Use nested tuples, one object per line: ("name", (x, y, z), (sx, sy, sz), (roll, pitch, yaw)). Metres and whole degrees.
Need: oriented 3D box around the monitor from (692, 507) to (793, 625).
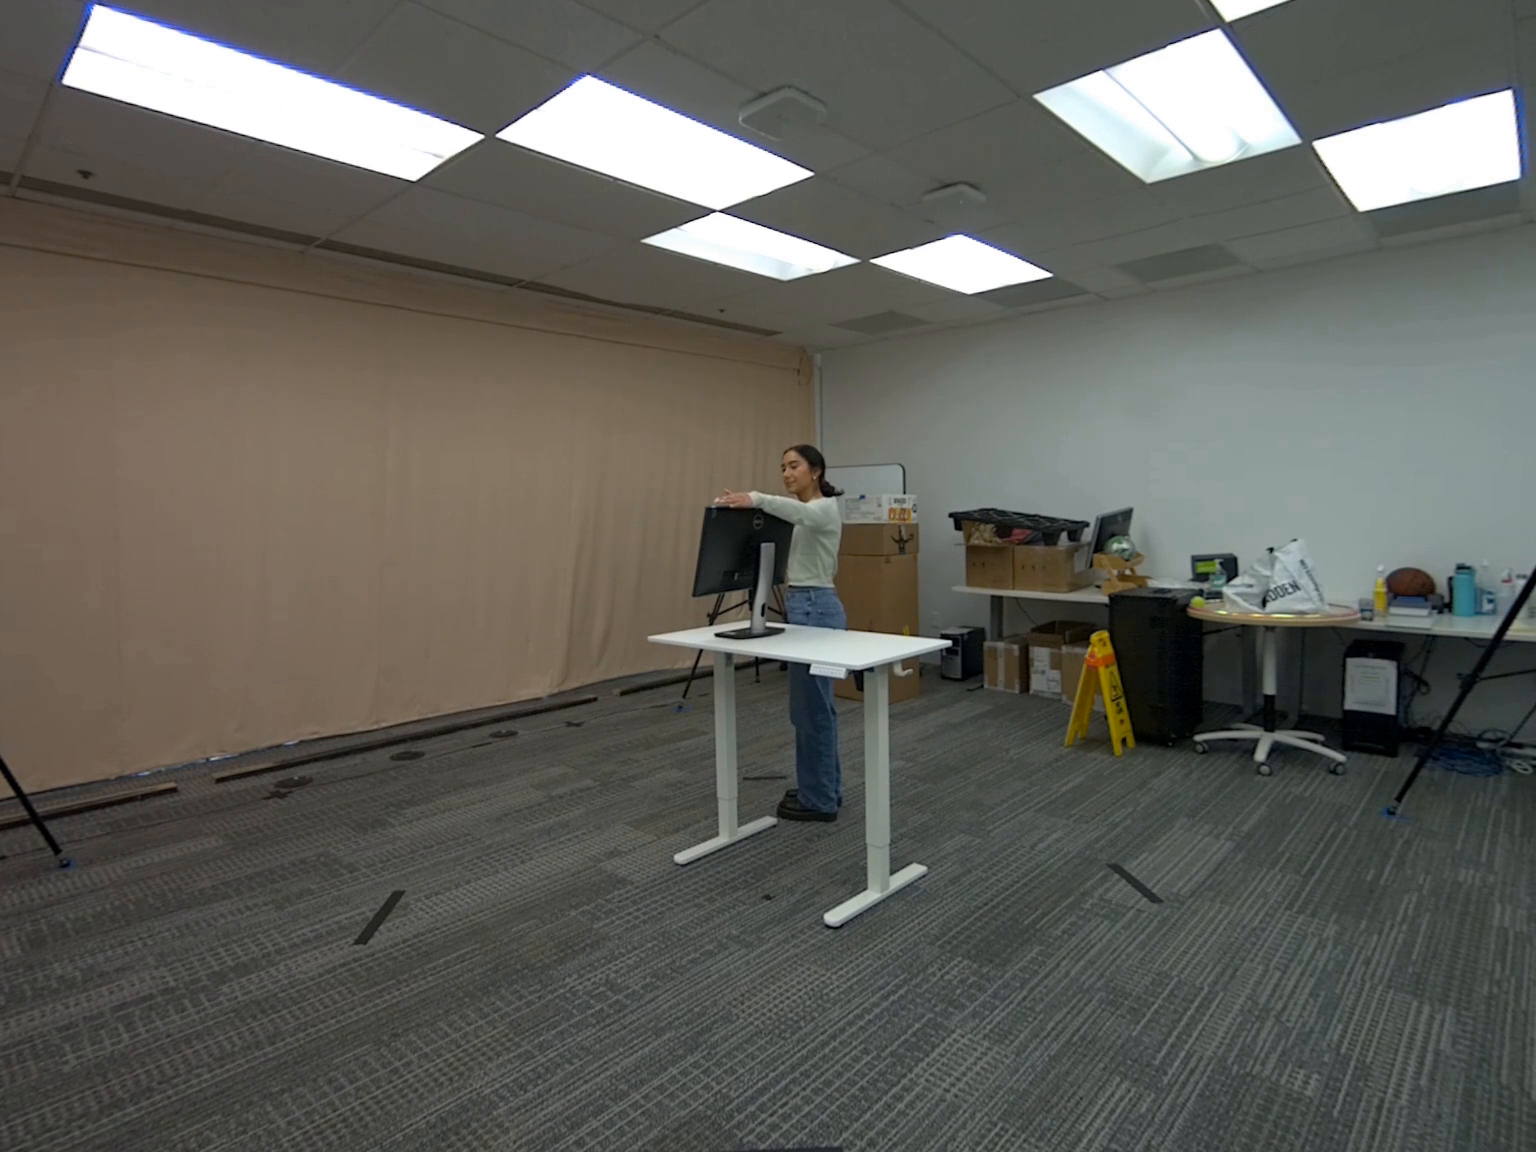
("monitor", (-0.056, -0.020, 3.306), (0.193, 0.521, 0.523), (5, 6, 39))
